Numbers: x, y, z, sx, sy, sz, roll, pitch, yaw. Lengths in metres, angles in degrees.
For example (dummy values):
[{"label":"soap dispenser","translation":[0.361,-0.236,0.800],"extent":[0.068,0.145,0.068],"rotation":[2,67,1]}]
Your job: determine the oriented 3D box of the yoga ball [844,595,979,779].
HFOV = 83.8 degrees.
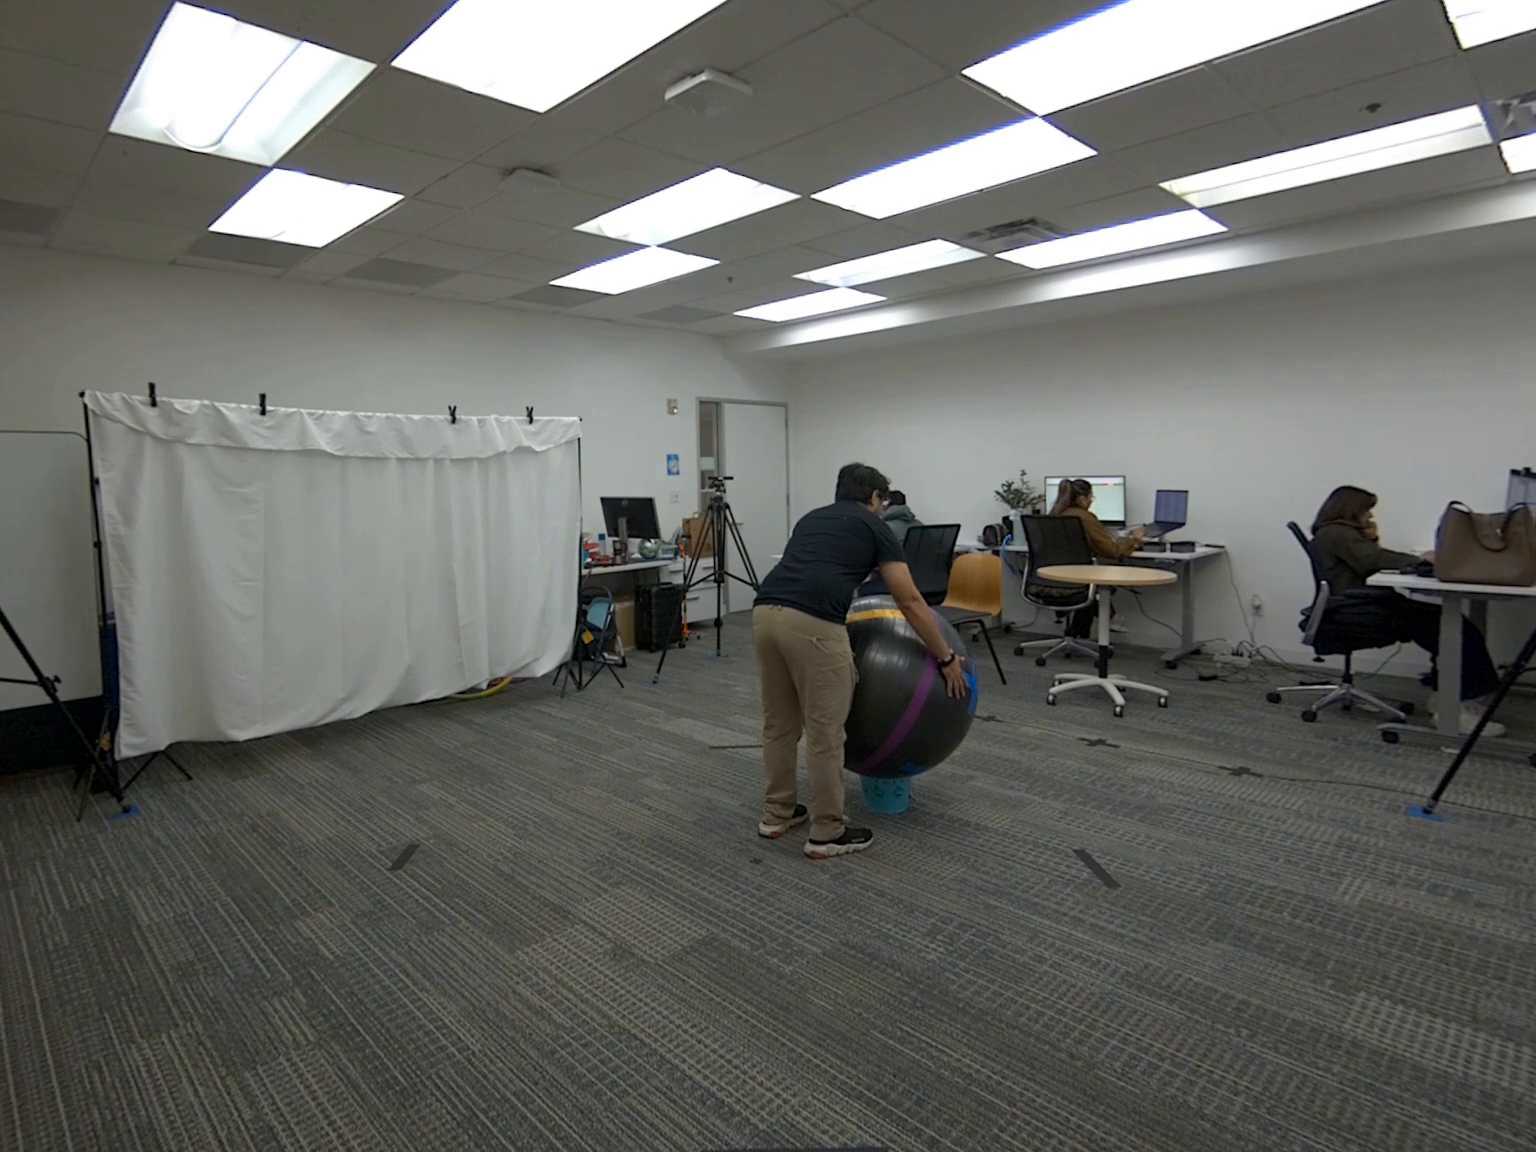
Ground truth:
[{"label":"yoga ball","translation":[0.490,0.463,3.592],"extent":[0.757,0.755,0.762],"rotation":[-1,5,-2]}]
